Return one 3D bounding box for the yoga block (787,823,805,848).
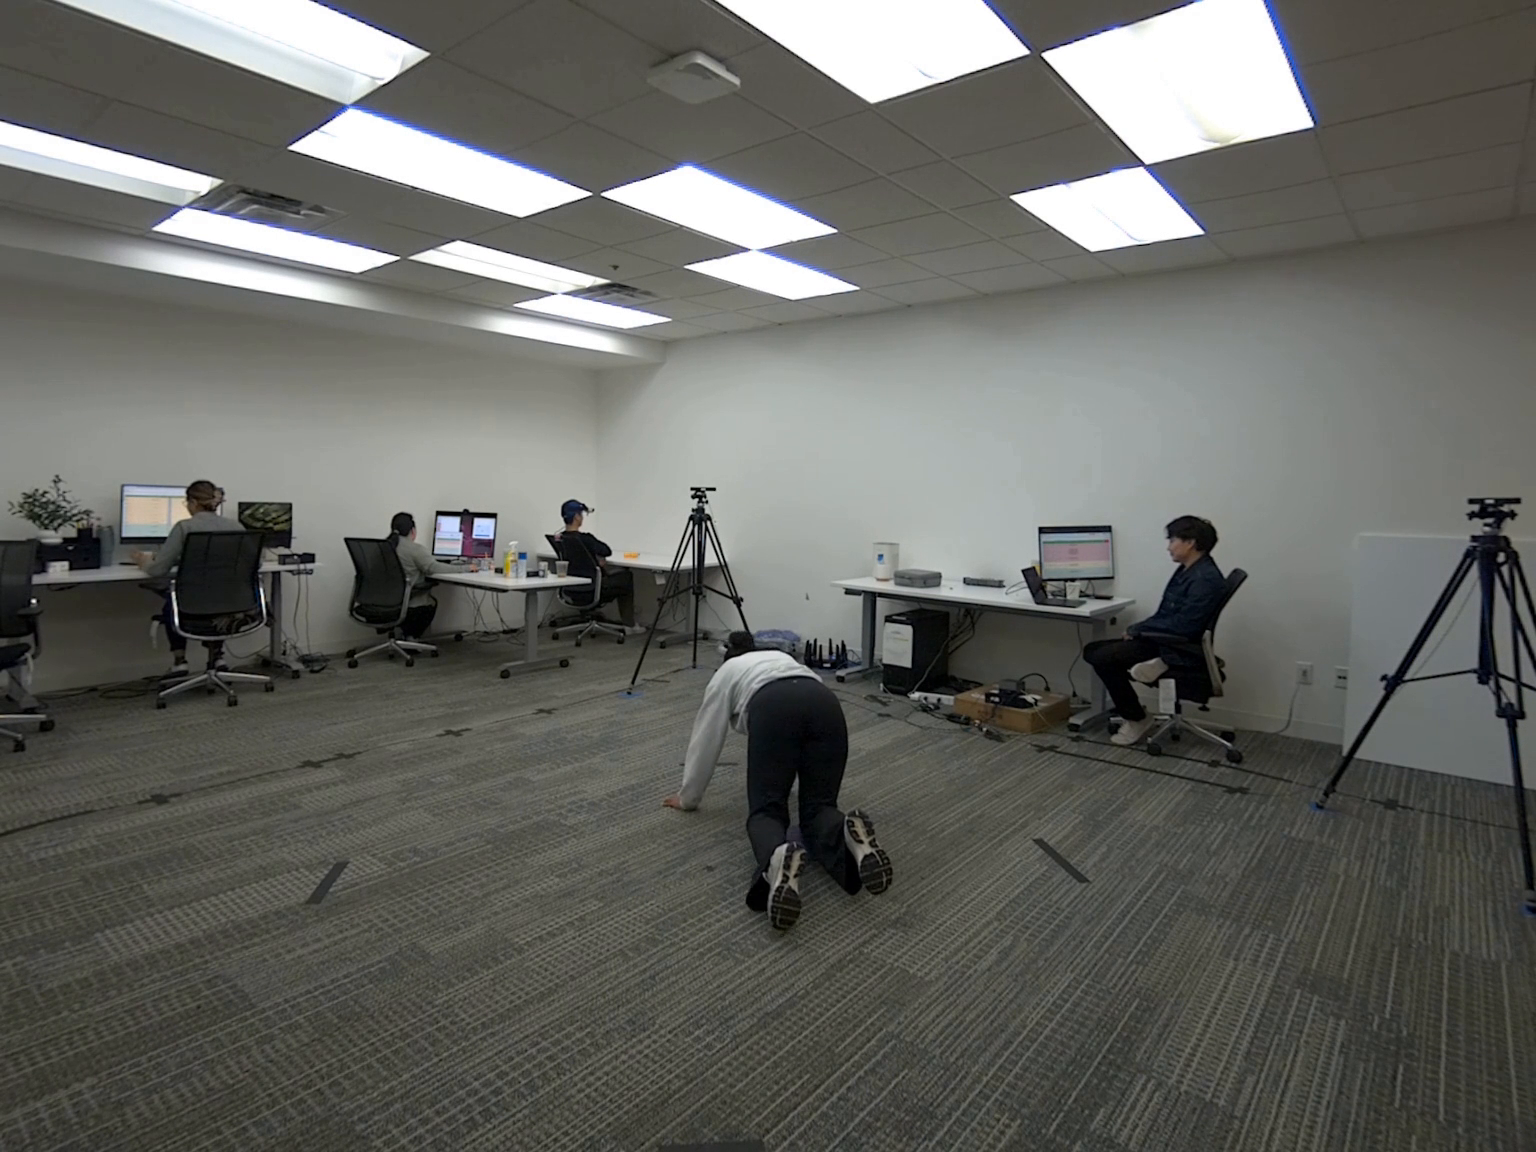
[{"bbox_3d":[0.183,1.016,3.246,0.231,0.076,0.149,2,7,5],"label":"yoga block"}]
